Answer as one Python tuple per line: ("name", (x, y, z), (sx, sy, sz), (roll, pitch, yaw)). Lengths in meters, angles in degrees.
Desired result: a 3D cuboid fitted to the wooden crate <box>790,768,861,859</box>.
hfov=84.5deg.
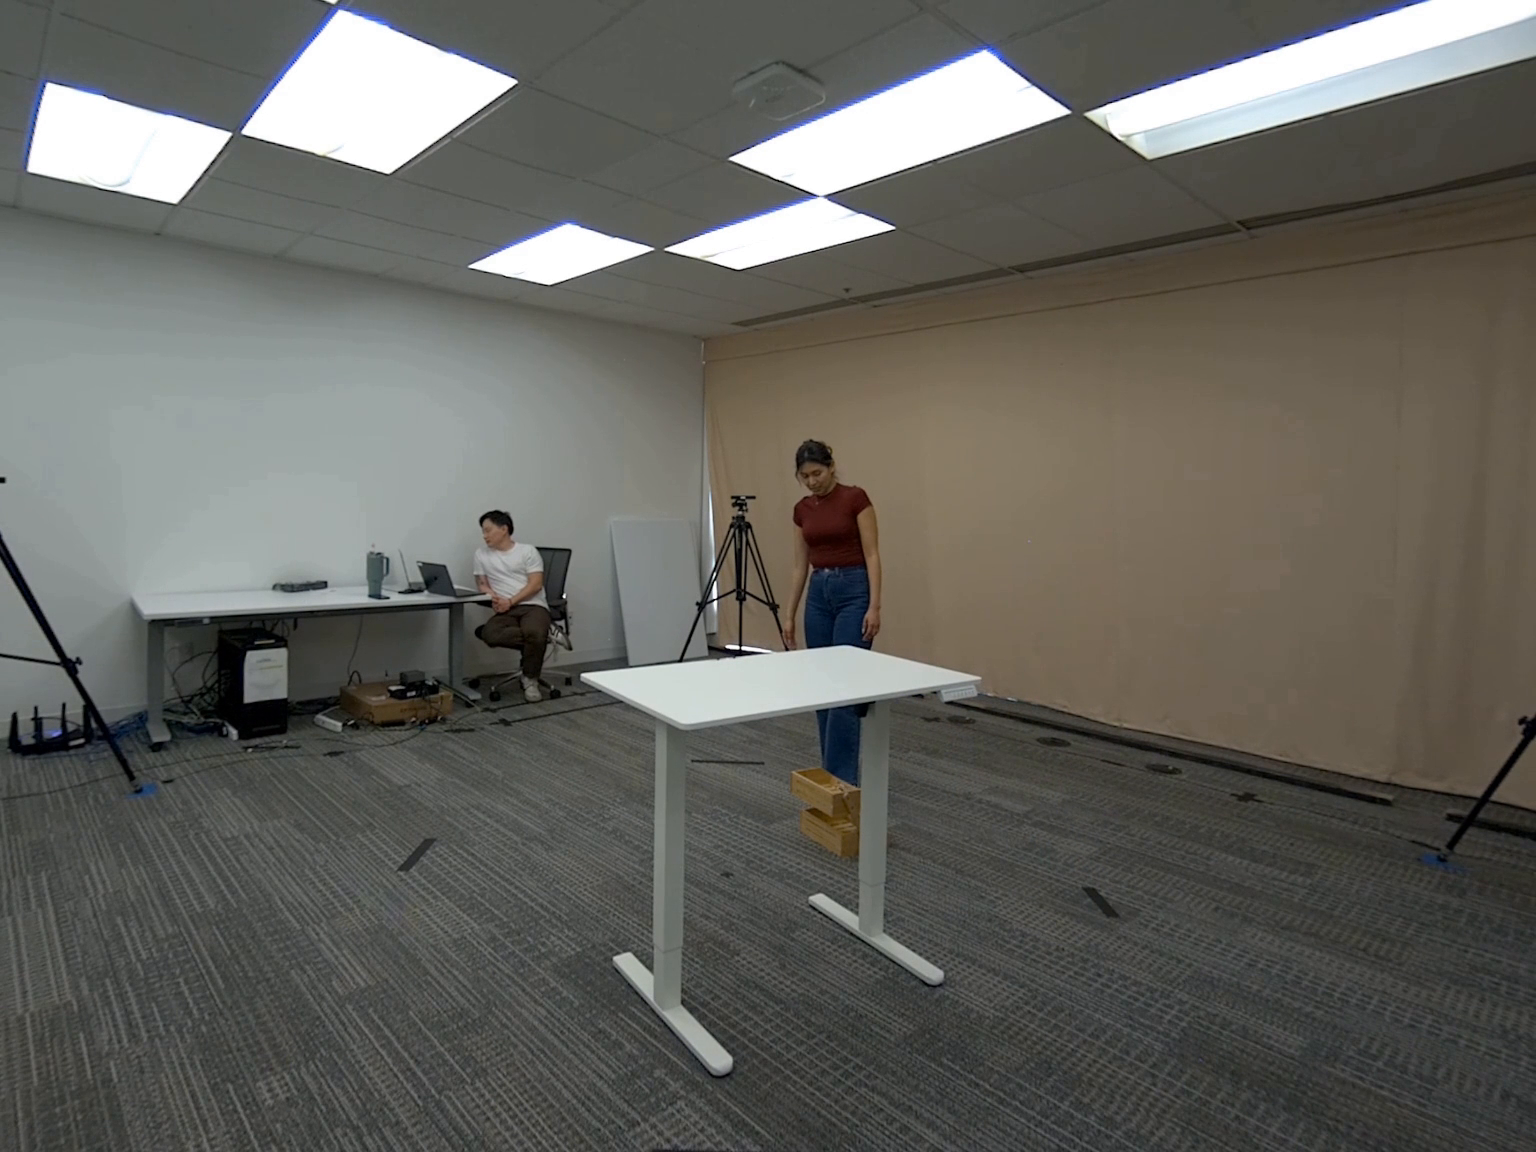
("wooden crate", (0.290, 0.950, 3.445), (0.296, 0.272, 0.332), (-1, 5, -30))
